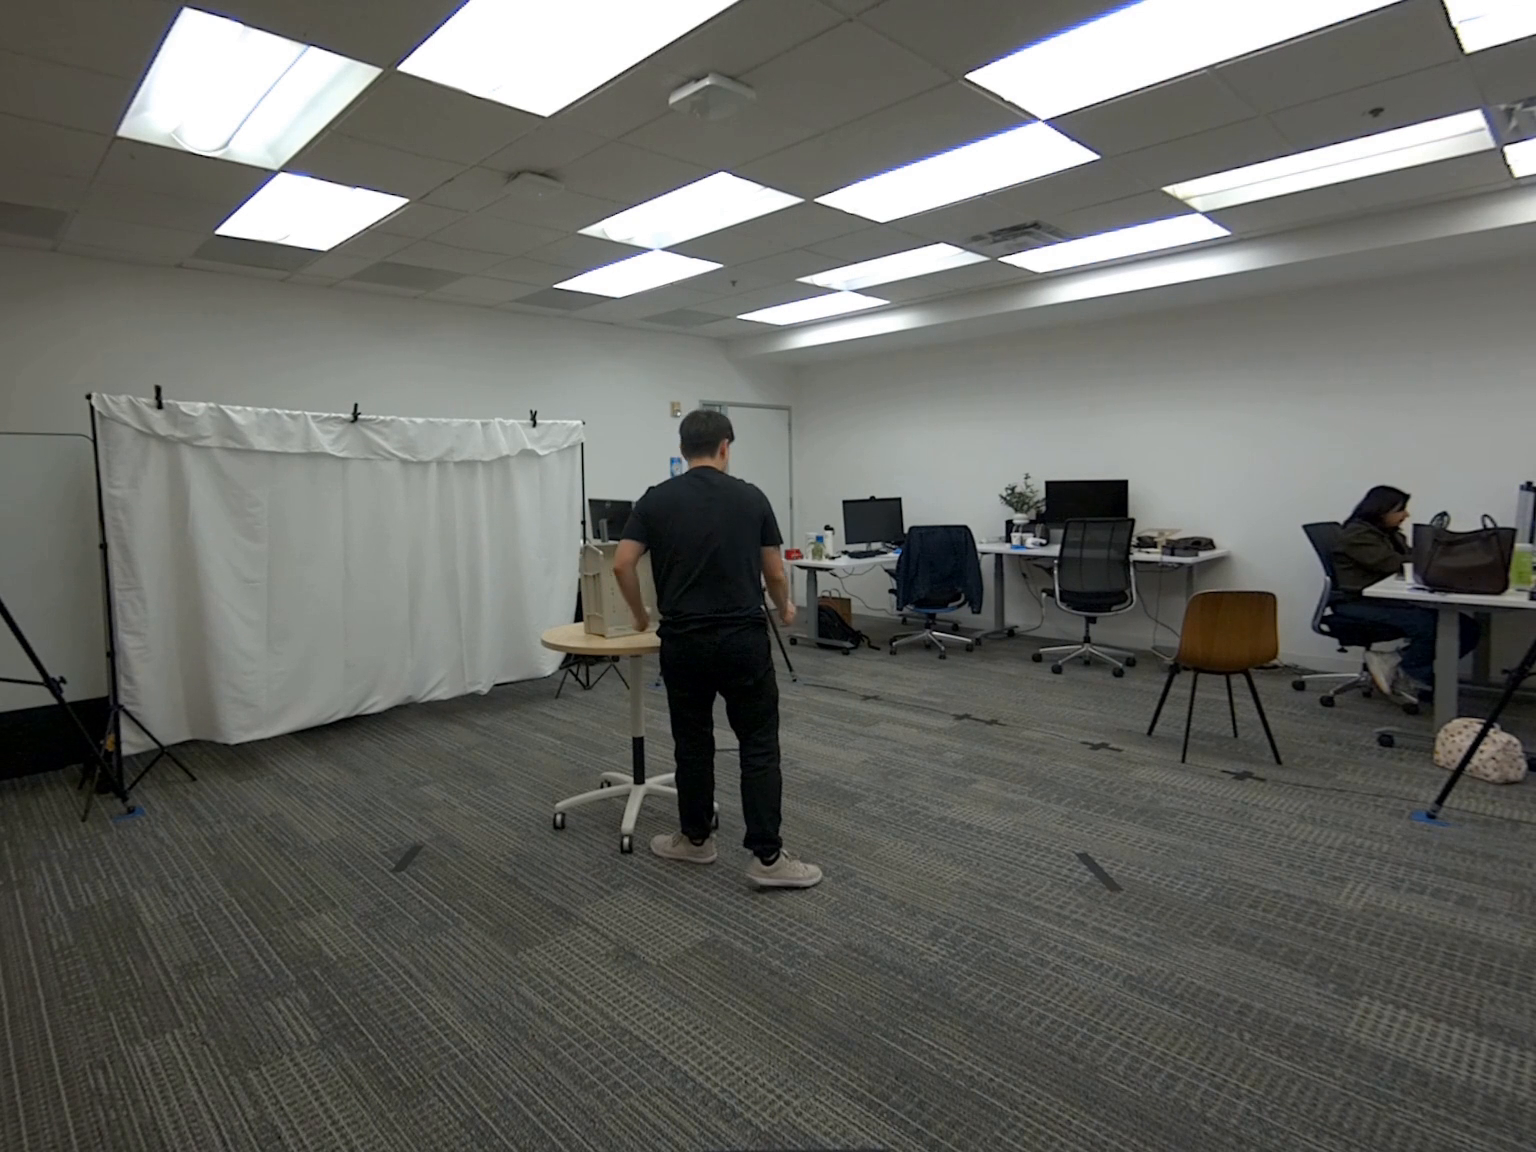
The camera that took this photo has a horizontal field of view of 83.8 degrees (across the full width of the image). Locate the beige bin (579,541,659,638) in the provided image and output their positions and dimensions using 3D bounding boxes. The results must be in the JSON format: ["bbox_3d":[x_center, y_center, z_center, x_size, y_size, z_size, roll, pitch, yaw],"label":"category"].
[{"bbox_3d":[-0.551,0.043,3.553,0.411,0.377,0.194,-6,1,-40],"label":"beige bin"}]
